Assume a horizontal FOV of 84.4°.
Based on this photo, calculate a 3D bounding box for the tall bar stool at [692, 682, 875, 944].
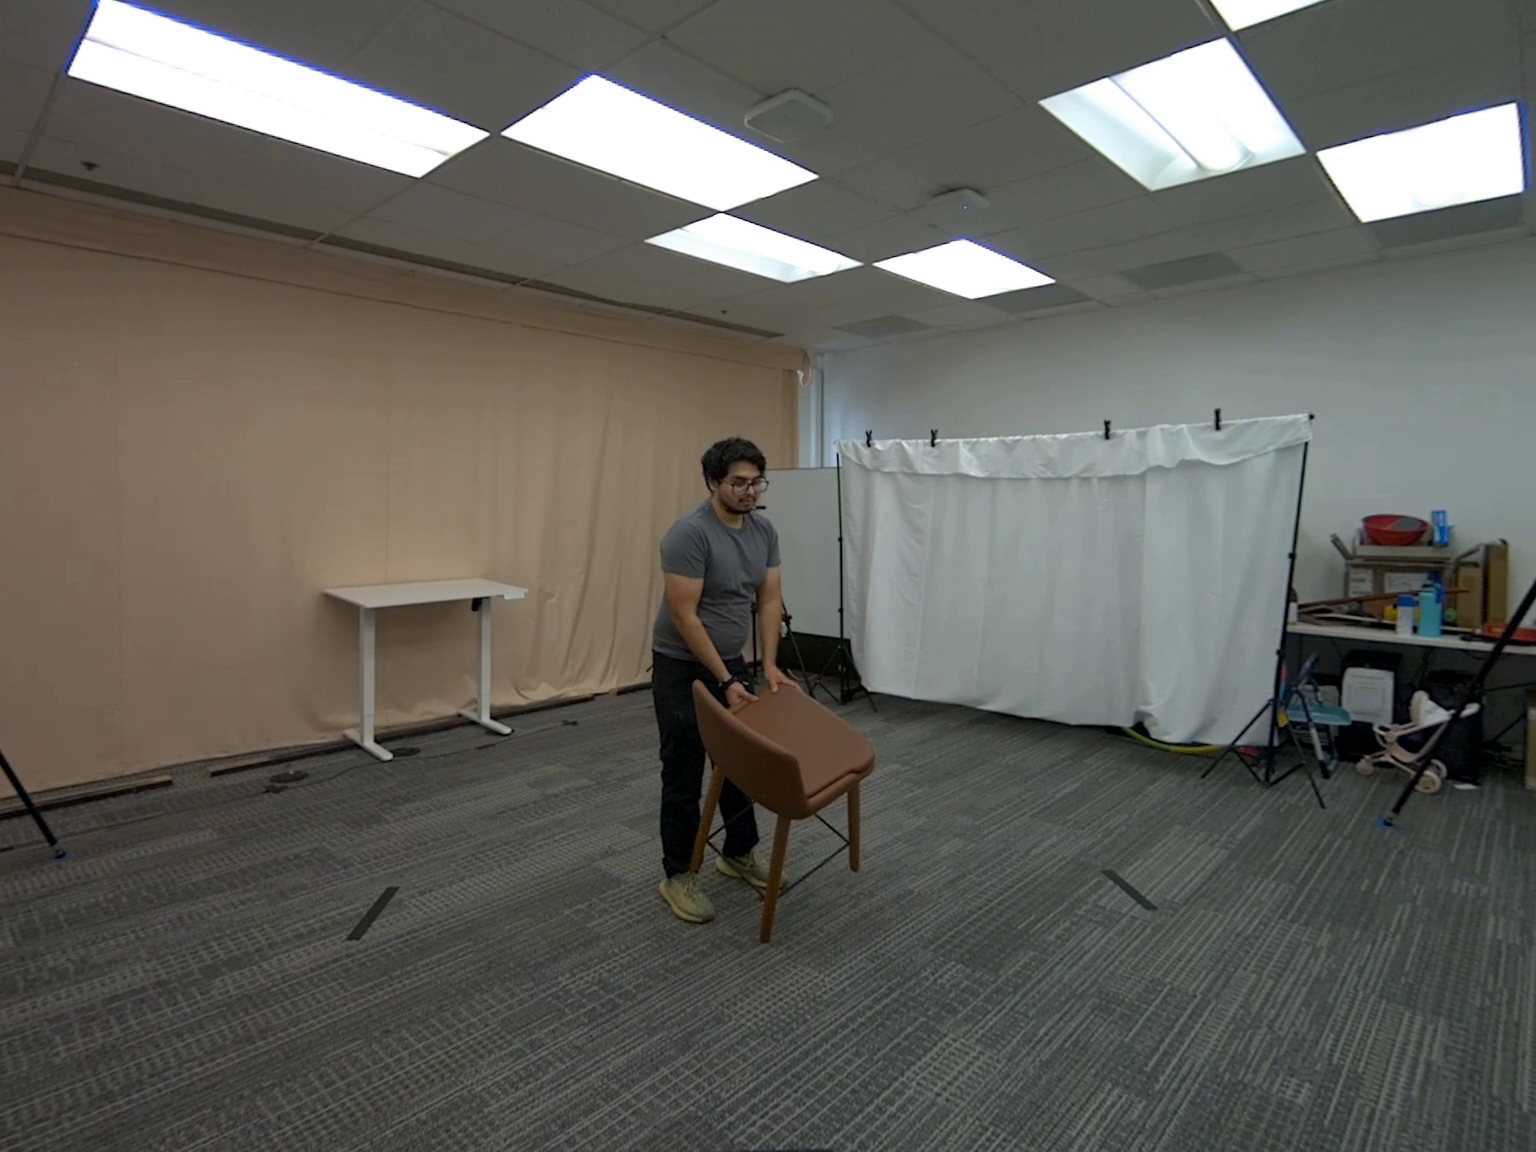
[{"bbox_3d":[0.048,0.659,2.673,0.459,0.875,0.473,-27,44,-34],"label":"tall bar stool"}]
